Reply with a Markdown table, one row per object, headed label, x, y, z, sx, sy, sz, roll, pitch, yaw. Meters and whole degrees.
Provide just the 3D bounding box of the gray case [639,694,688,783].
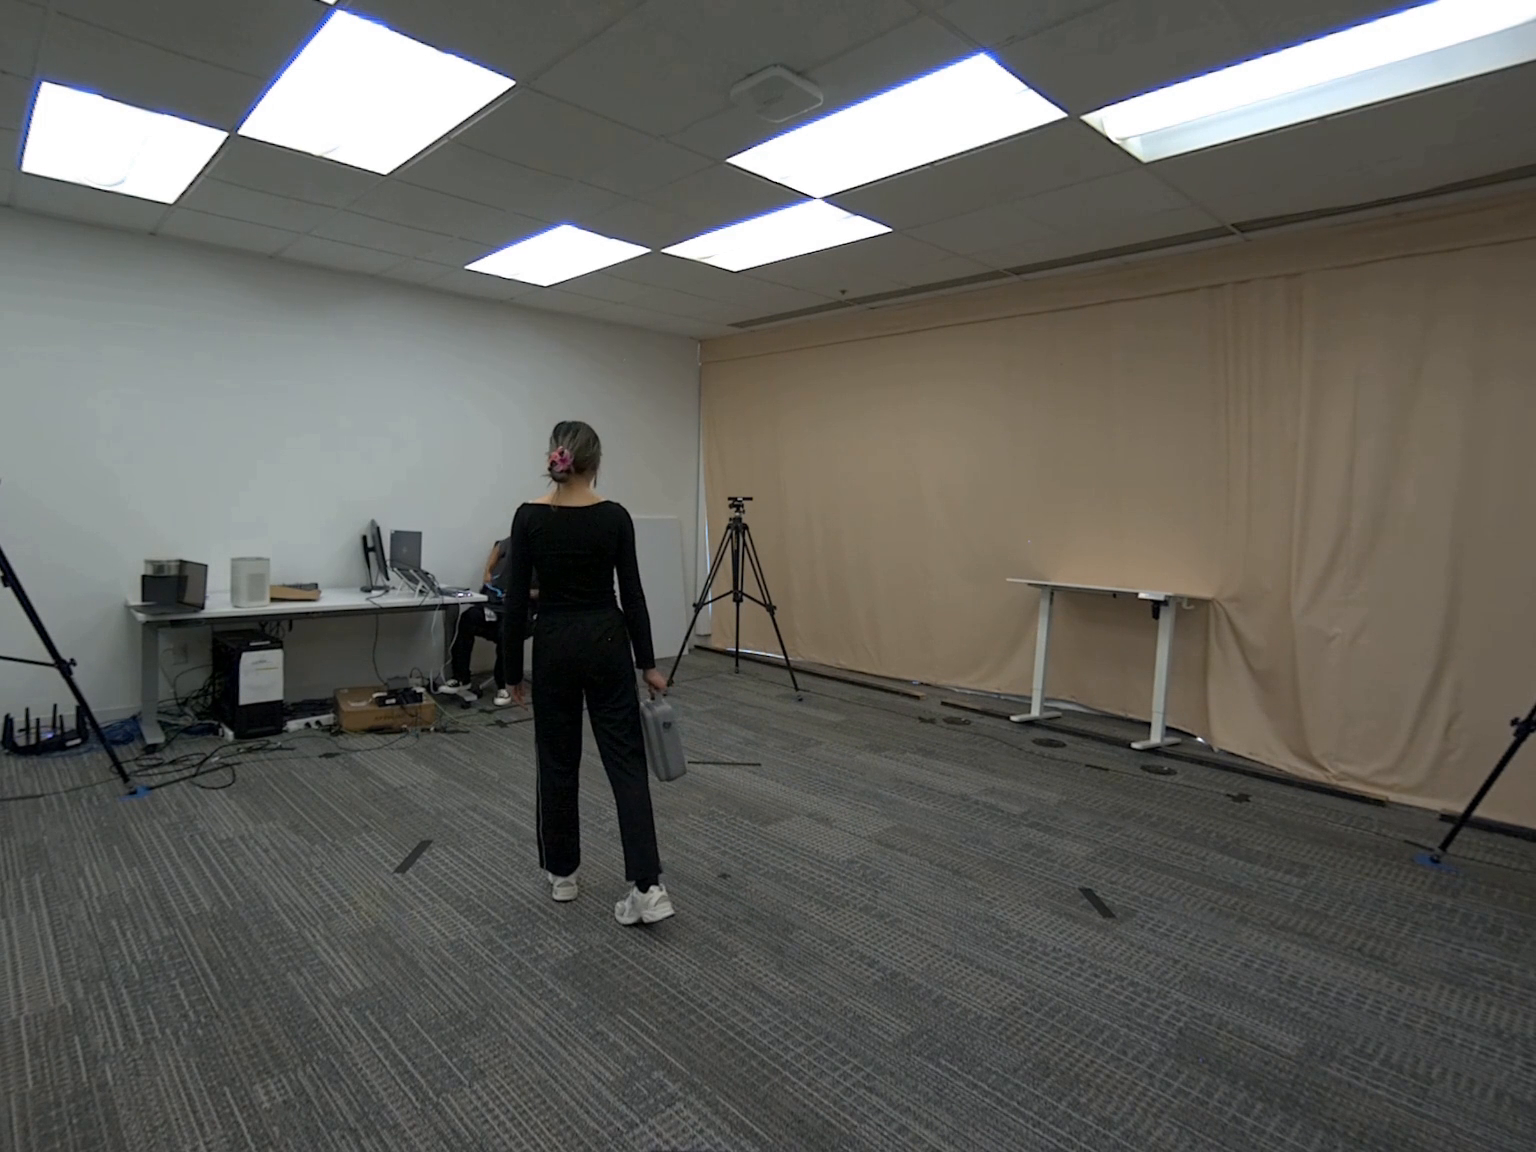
| label | x | y | z | sx | sy | sz | roll | pitch | yaw |
| --- | --- | --- | --- | --- | --- | --- | --- | --- | --- |
| gray case | -0.385 | 0.564 | 2.951 | 0.103 | 0.260 | 0.259 | -11 | 3 | -13 |
